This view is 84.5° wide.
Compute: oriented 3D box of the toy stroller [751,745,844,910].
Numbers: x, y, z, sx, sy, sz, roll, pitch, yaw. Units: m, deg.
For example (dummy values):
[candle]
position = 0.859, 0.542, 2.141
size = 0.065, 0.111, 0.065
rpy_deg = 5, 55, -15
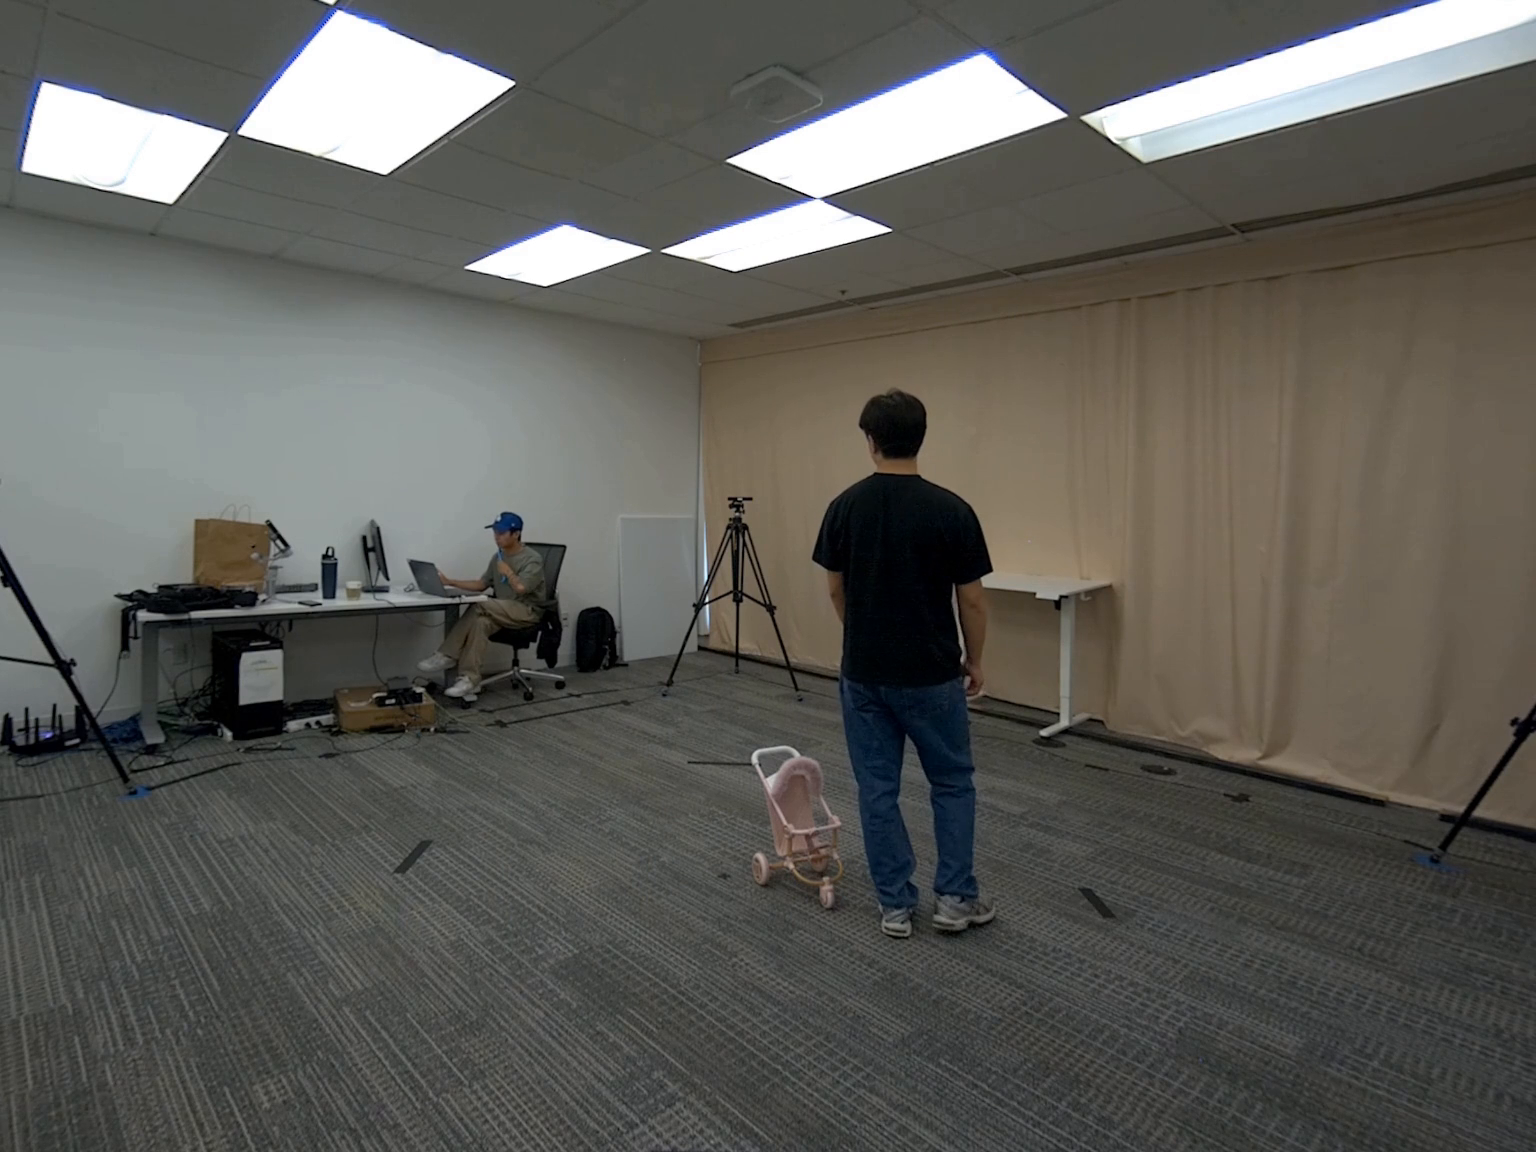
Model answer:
[toy stroller]
position = 0.109, 0.891, 3.034
size = 0.276, 0.539, 0.344
rpy_deg = 0, -11, -25
